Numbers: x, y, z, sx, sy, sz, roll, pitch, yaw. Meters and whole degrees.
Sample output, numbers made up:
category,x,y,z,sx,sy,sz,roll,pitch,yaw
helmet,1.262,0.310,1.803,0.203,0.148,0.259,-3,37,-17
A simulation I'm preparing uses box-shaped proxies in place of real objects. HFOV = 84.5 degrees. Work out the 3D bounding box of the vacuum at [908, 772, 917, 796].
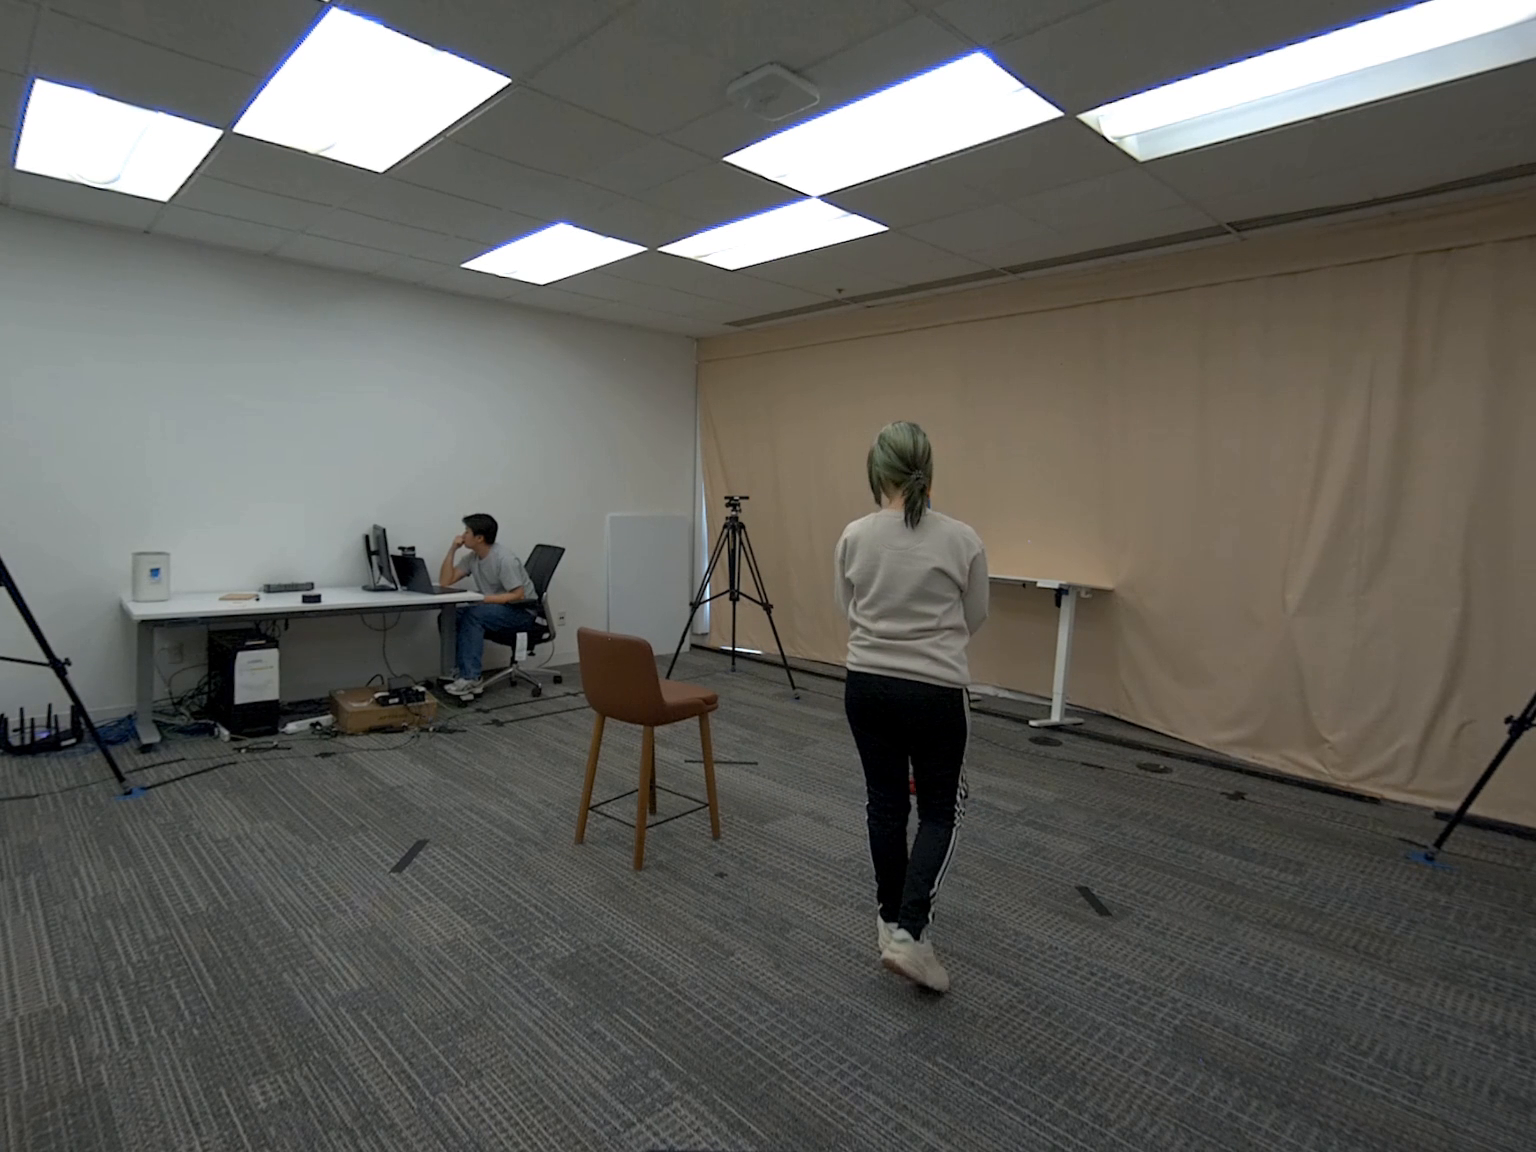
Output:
category,x,y,z,sx,sy,sz,roll,pitch,yaw
vacuum,0.553,0.173,2.883,0.258,1.049,0.141,1,1,37
